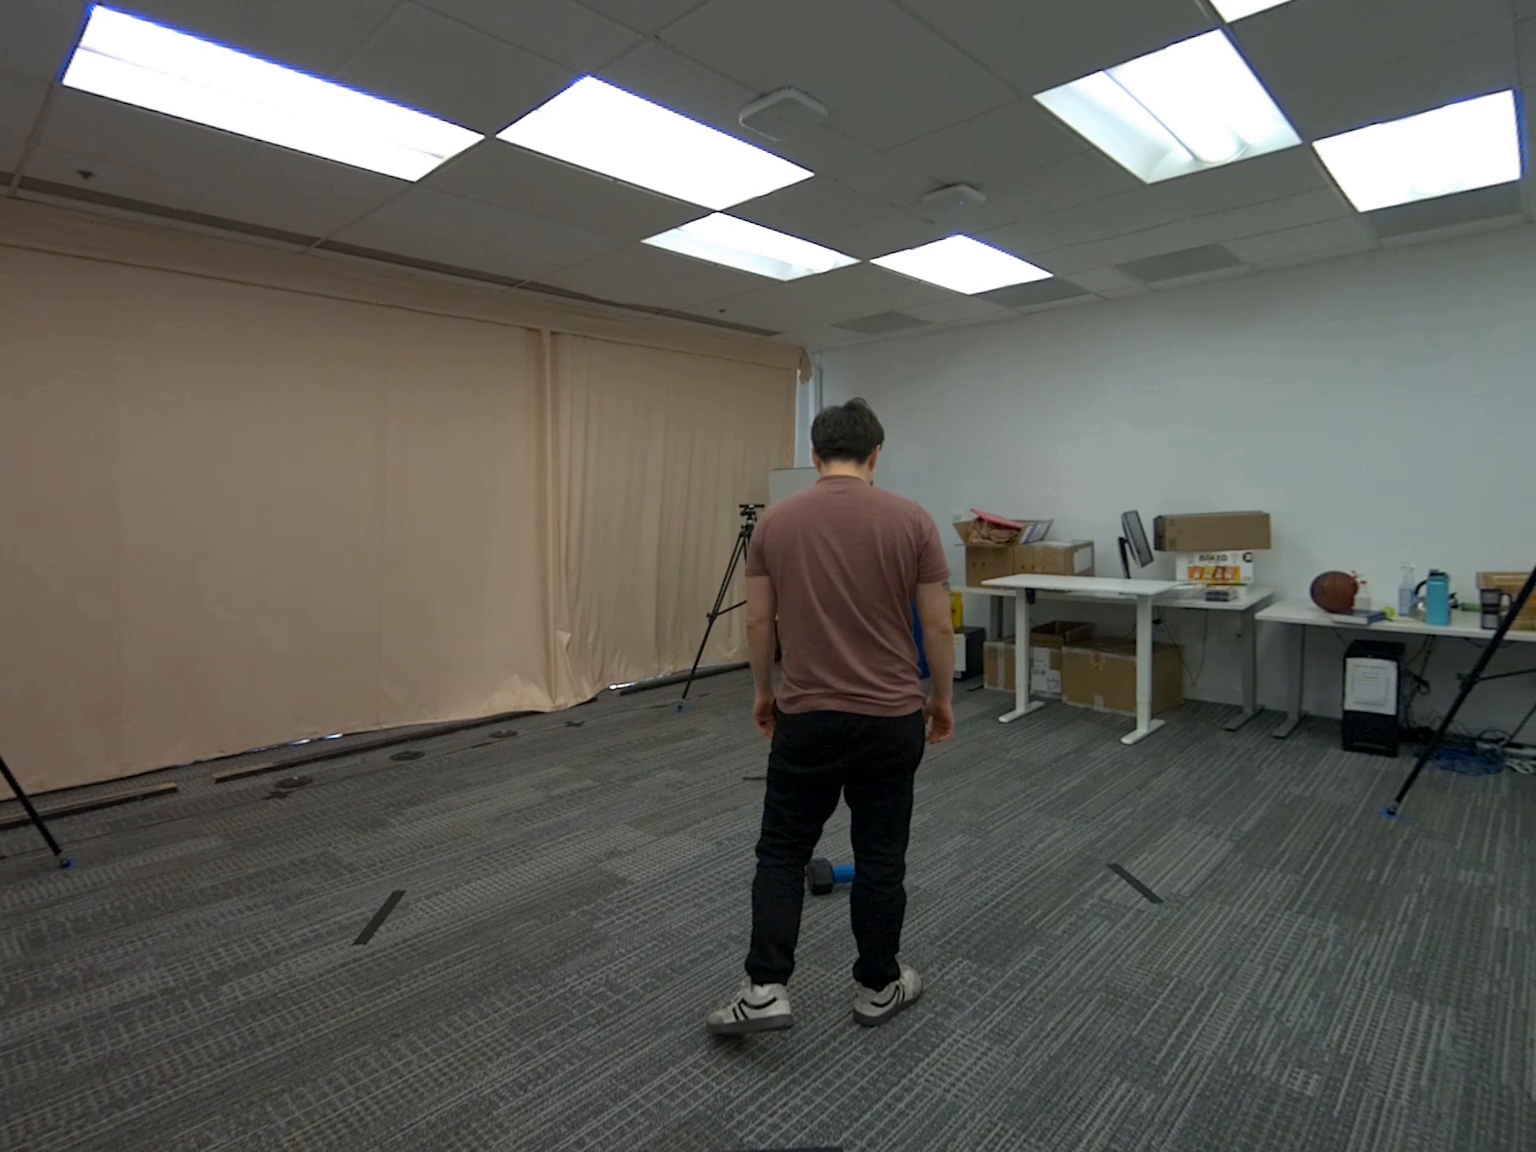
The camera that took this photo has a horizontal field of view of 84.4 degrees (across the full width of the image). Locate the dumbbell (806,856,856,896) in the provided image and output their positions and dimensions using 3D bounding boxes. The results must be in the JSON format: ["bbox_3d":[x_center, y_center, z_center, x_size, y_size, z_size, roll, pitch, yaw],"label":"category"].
[{"bbox_3d":[0.293,1.077,3.041,0.290,0.121,0.111,-2,34,-10],"label":"dumbbell"}]
